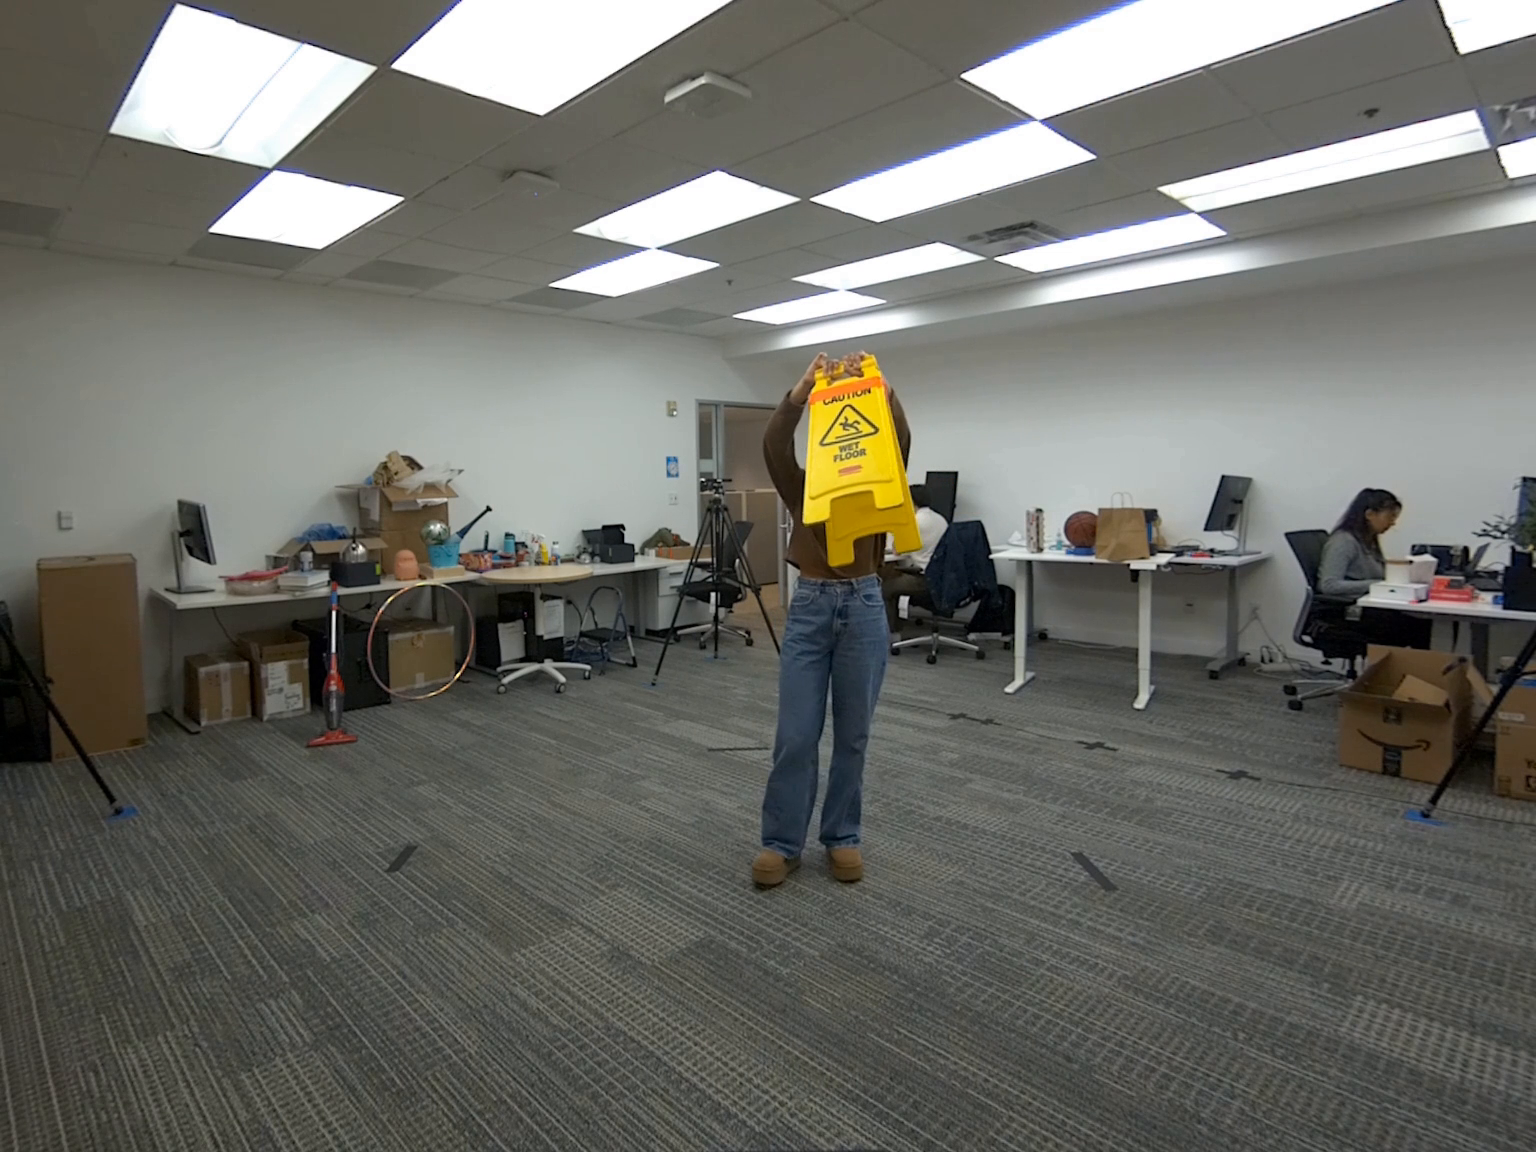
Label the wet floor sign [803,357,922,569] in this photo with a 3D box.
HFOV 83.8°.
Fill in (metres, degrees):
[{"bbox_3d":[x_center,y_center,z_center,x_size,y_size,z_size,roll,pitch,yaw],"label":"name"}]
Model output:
[{"bbox_3d":[0.258,-0.390,2.557,0.286,0.662,0.279,-13,-30,16],"label":"wet floor sign"}]
